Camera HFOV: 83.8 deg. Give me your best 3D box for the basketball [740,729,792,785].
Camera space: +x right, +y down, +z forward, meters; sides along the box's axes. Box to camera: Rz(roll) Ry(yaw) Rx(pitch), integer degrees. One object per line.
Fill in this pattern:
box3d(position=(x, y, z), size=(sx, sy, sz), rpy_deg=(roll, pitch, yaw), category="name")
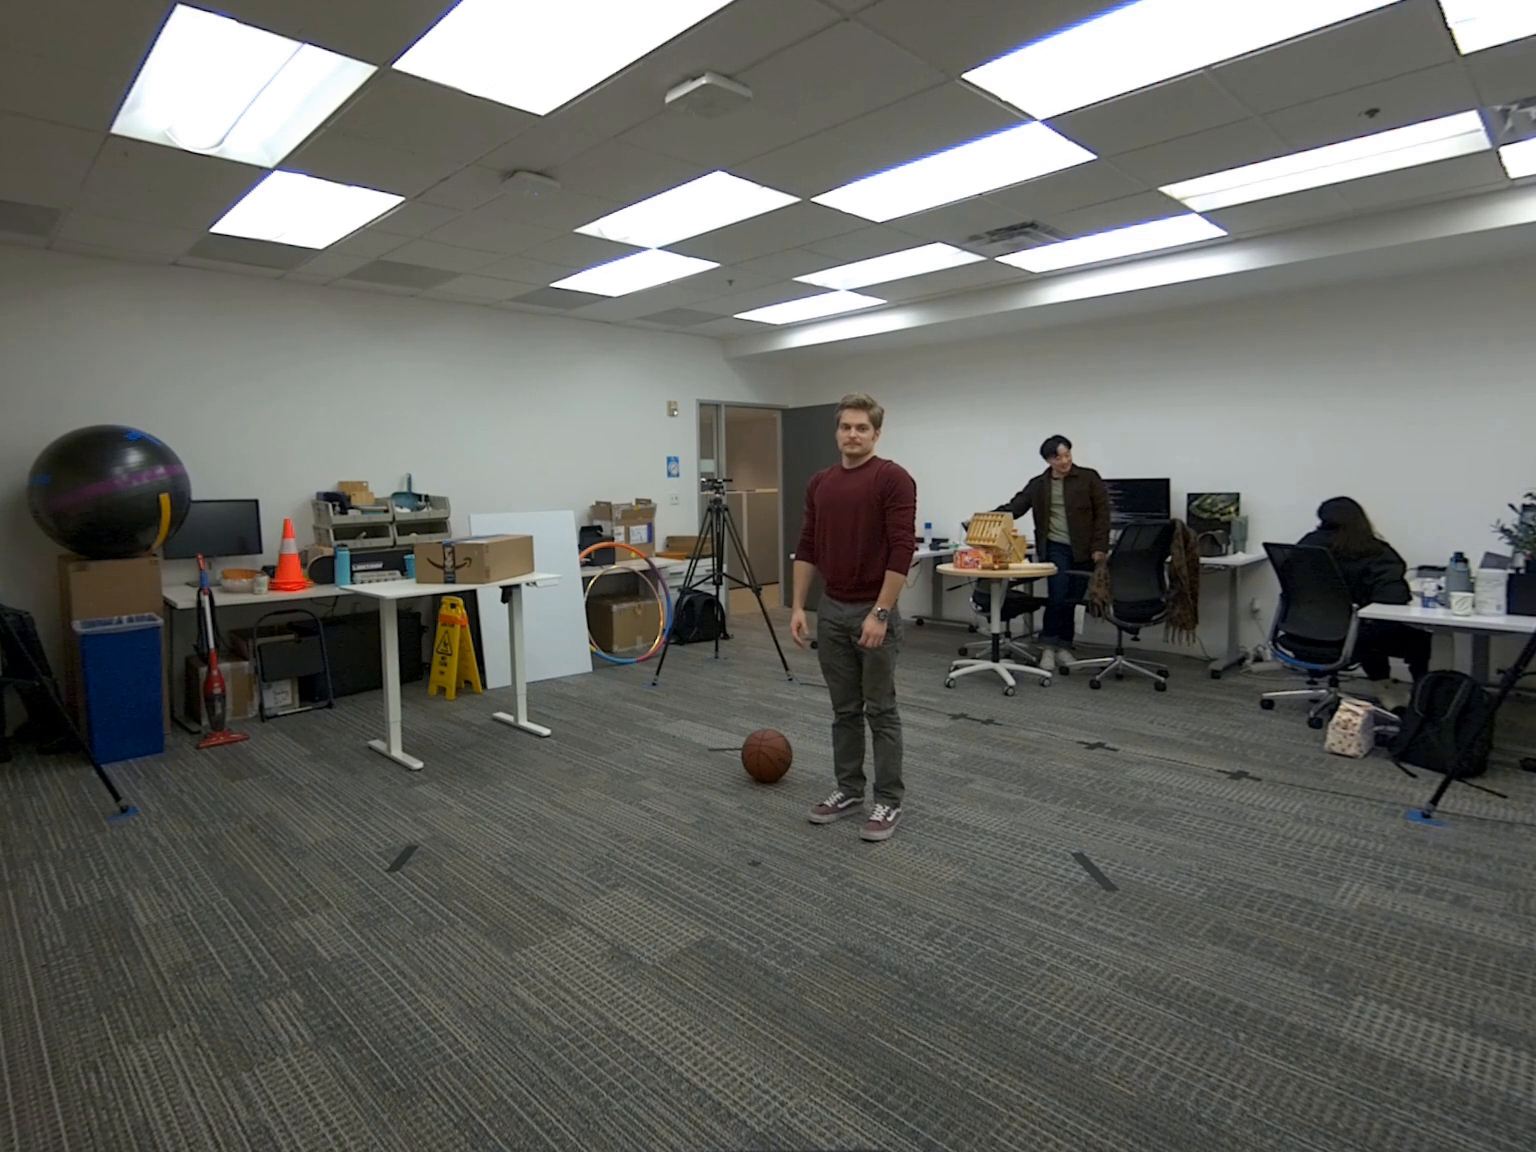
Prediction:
box3d(position=(-0.006, 0.829, 3.964), size=(0.236, 0.235, 0.237), rpy_deg=(-1, 5, -2), category="basketball")
